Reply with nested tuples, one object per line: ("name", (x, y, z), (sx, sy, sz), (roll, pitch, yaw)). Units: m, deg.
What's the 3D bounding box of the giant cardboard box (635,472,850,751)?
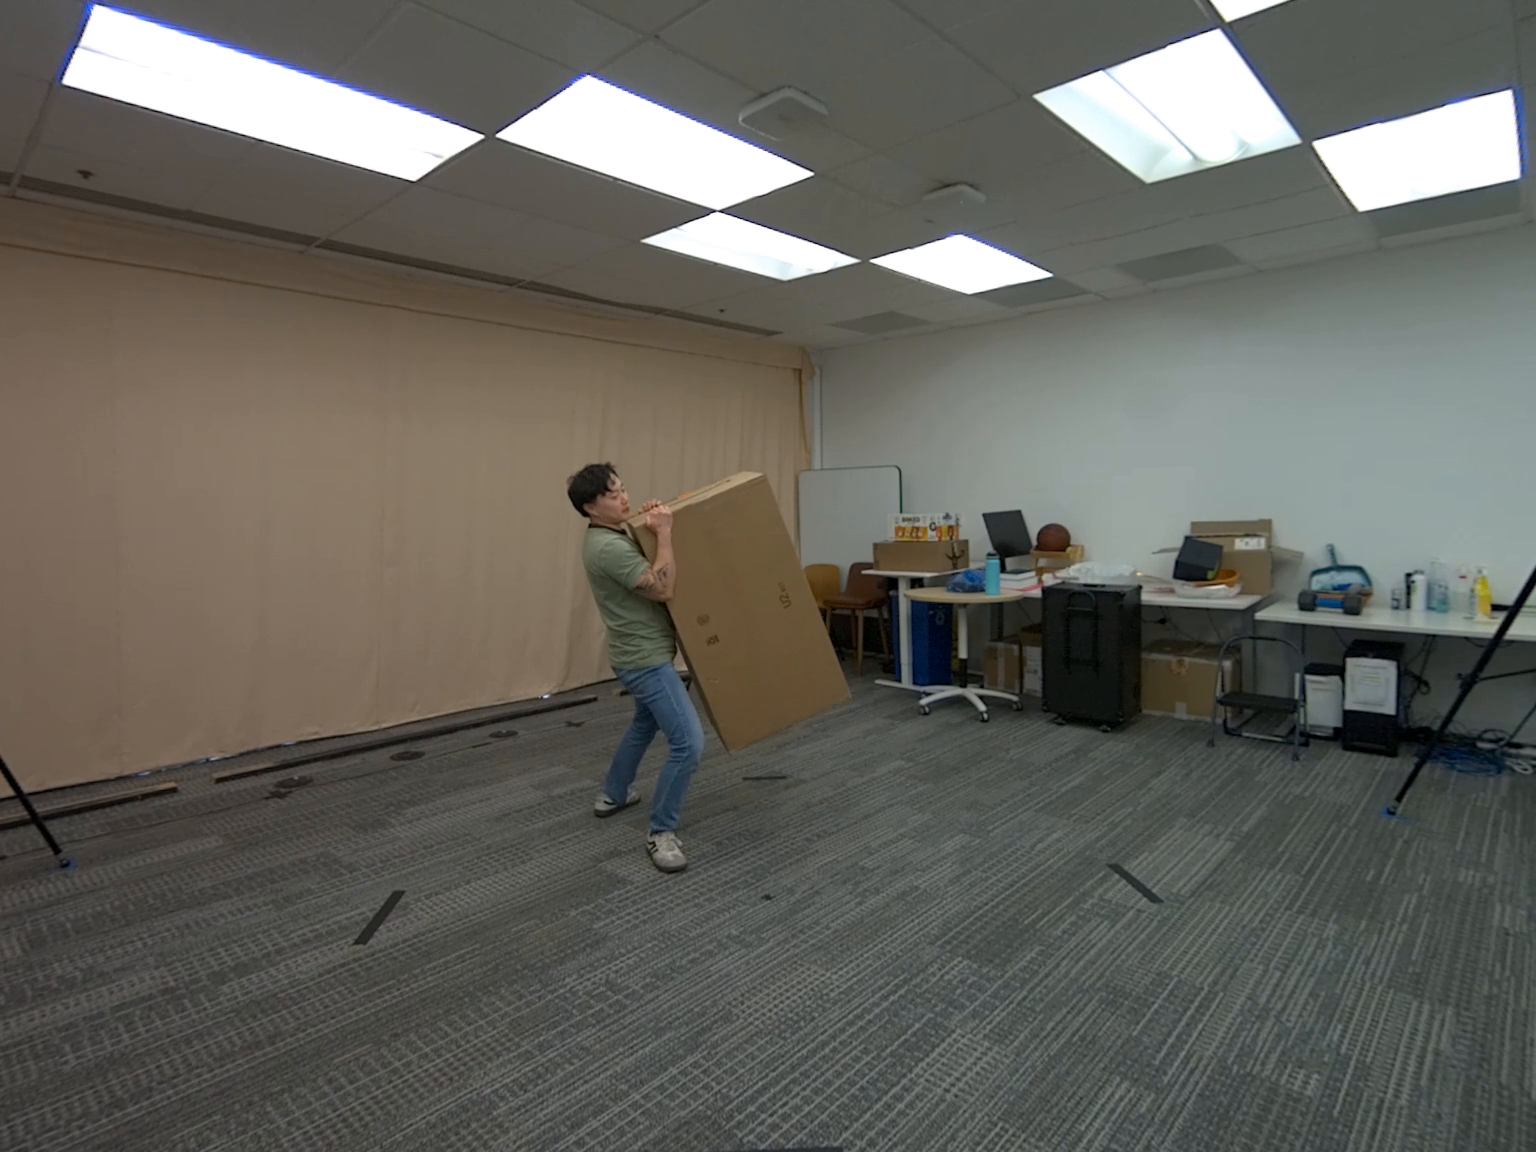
("giant cardboard box", (-0.127, 0.134, 3.619), (0.574, 1.015, 0.433), (-23, 11, -8))
